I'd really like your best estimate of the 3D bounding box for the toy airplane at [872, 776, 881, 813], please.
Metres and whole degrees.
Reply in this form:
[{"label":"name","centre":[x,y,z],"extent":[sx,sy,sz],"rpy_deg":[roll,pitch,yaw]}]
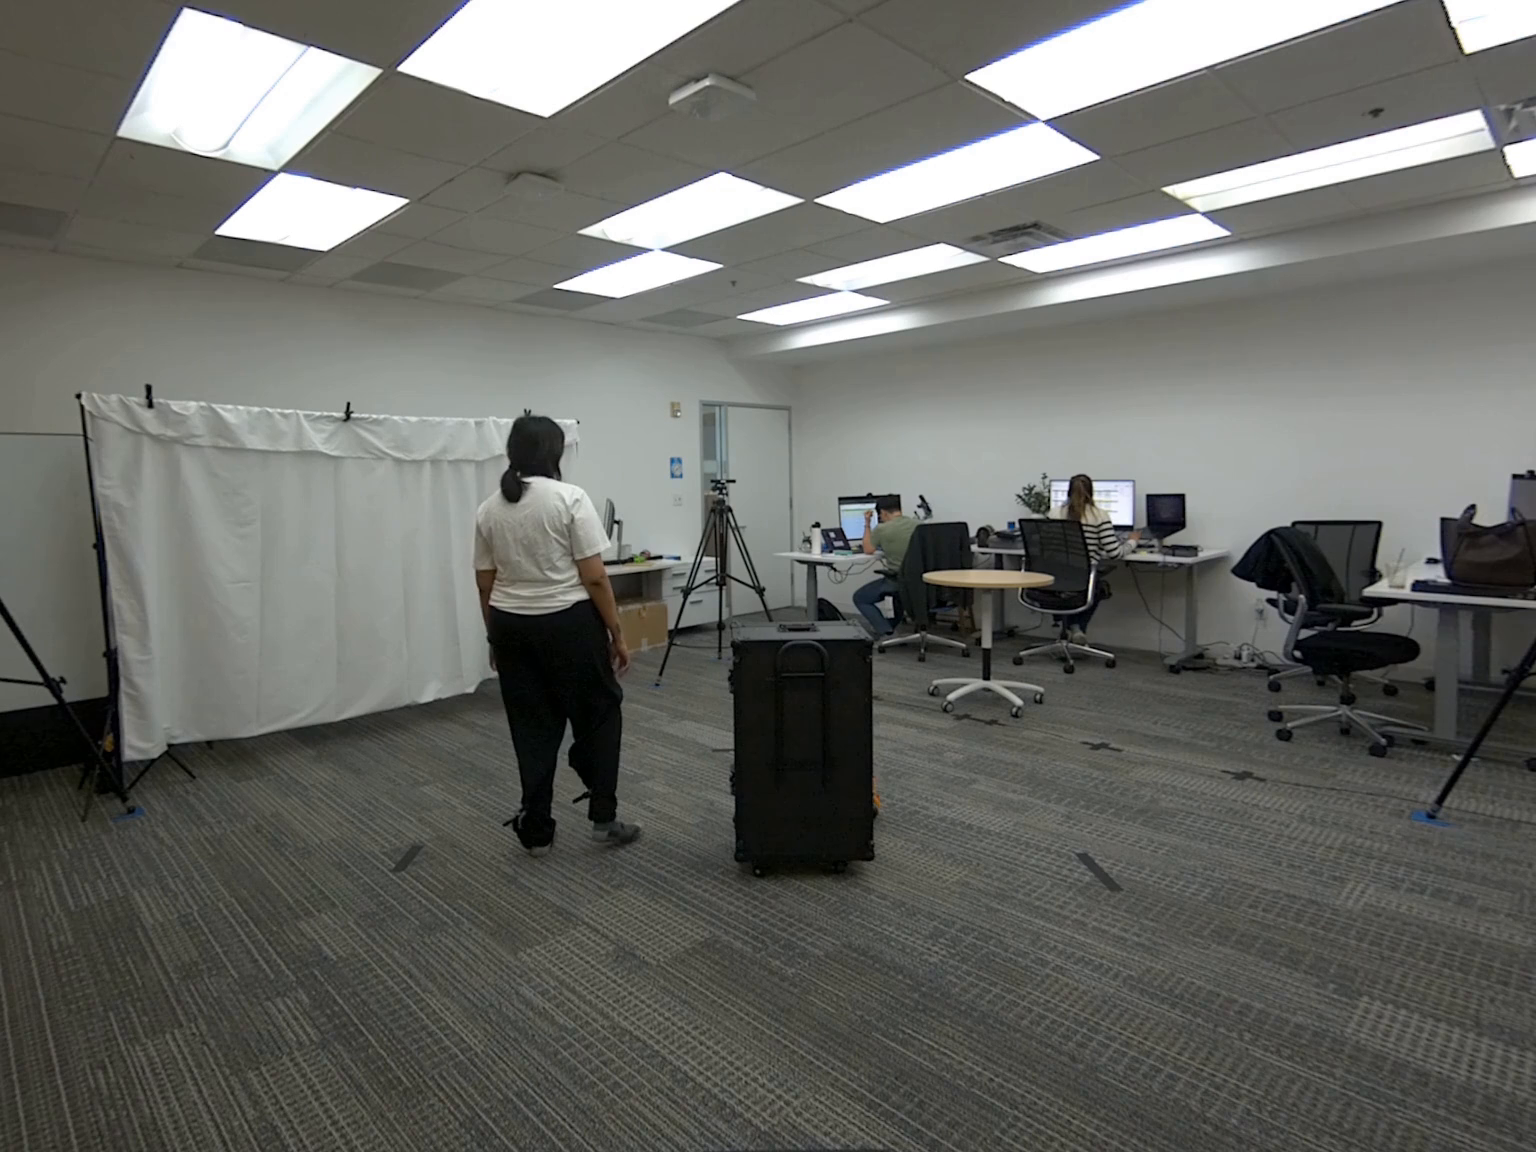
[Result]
[{"label":"toy airplane","centre":[0.326,0.921,3.516],"extent":[0.263,0.156,0.248],"rpy_deg":[2,5,14]}]
